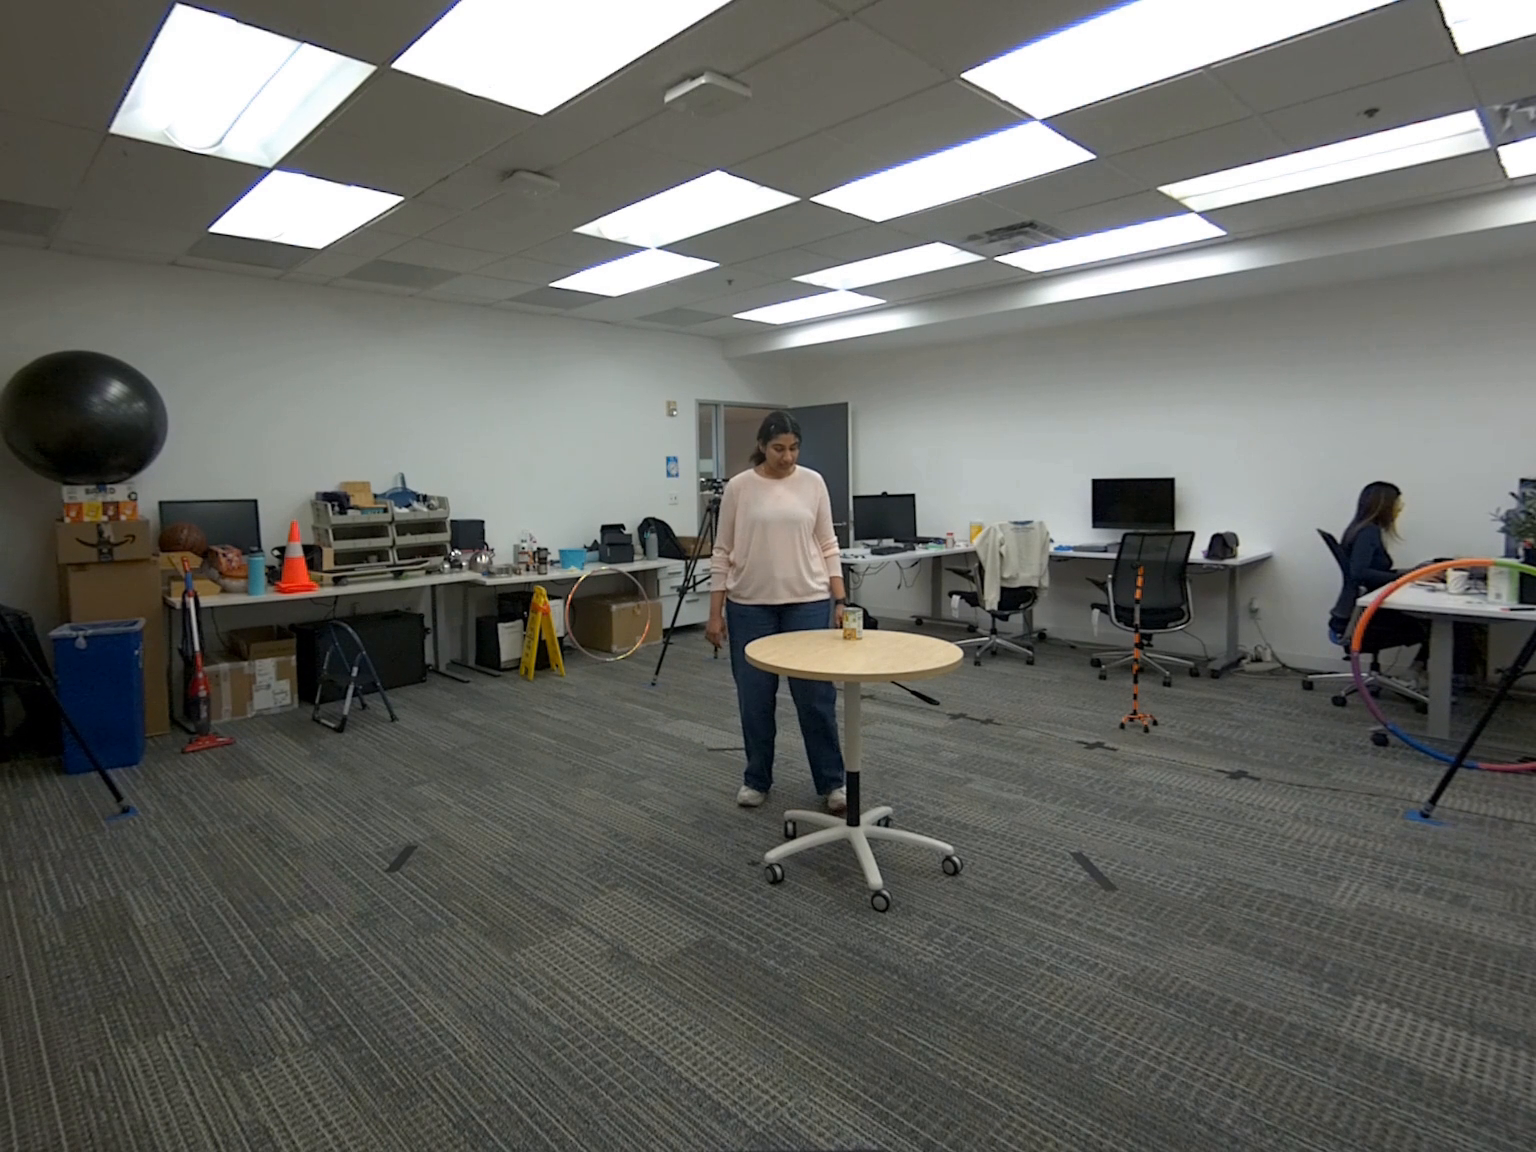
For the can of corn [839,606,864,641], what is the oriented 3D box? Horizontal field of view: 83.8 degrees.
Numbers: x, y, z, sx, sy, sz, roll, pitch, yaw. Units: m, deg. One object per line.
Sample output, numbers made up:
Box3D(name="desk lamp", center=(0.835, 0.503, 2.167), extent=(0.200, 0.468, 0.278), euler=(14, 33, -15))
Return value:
Box3D(name="can of corn", center=(0.322, 0.183, 3.241), extent=(0.074, 0.111, 0.074), euler=(1, 3, -2))
